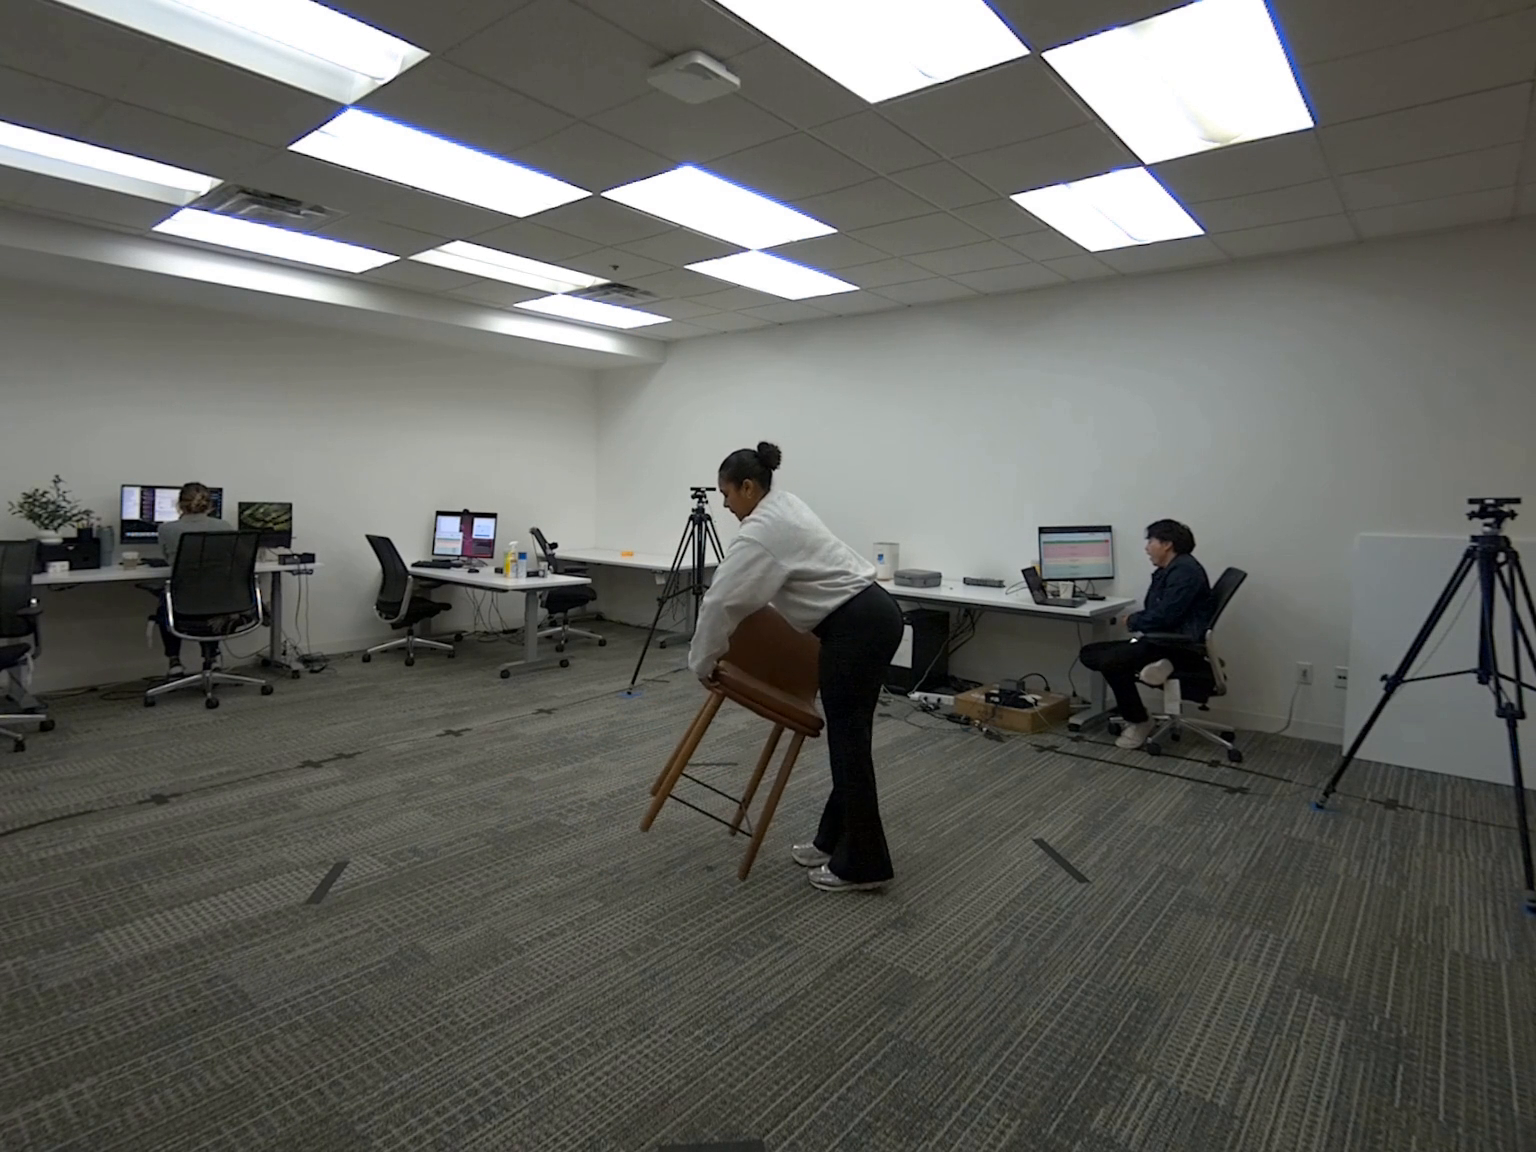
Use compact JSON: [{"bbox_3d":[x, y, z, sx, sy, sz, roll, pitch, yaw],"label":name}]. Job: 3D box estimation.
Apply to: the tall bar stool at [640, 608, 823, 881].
[{"bbox_3d":[-0.105,0.571,3.154,0.456,0.891,0.468,27,-4,-3],"label":"tall bar stool"}]
